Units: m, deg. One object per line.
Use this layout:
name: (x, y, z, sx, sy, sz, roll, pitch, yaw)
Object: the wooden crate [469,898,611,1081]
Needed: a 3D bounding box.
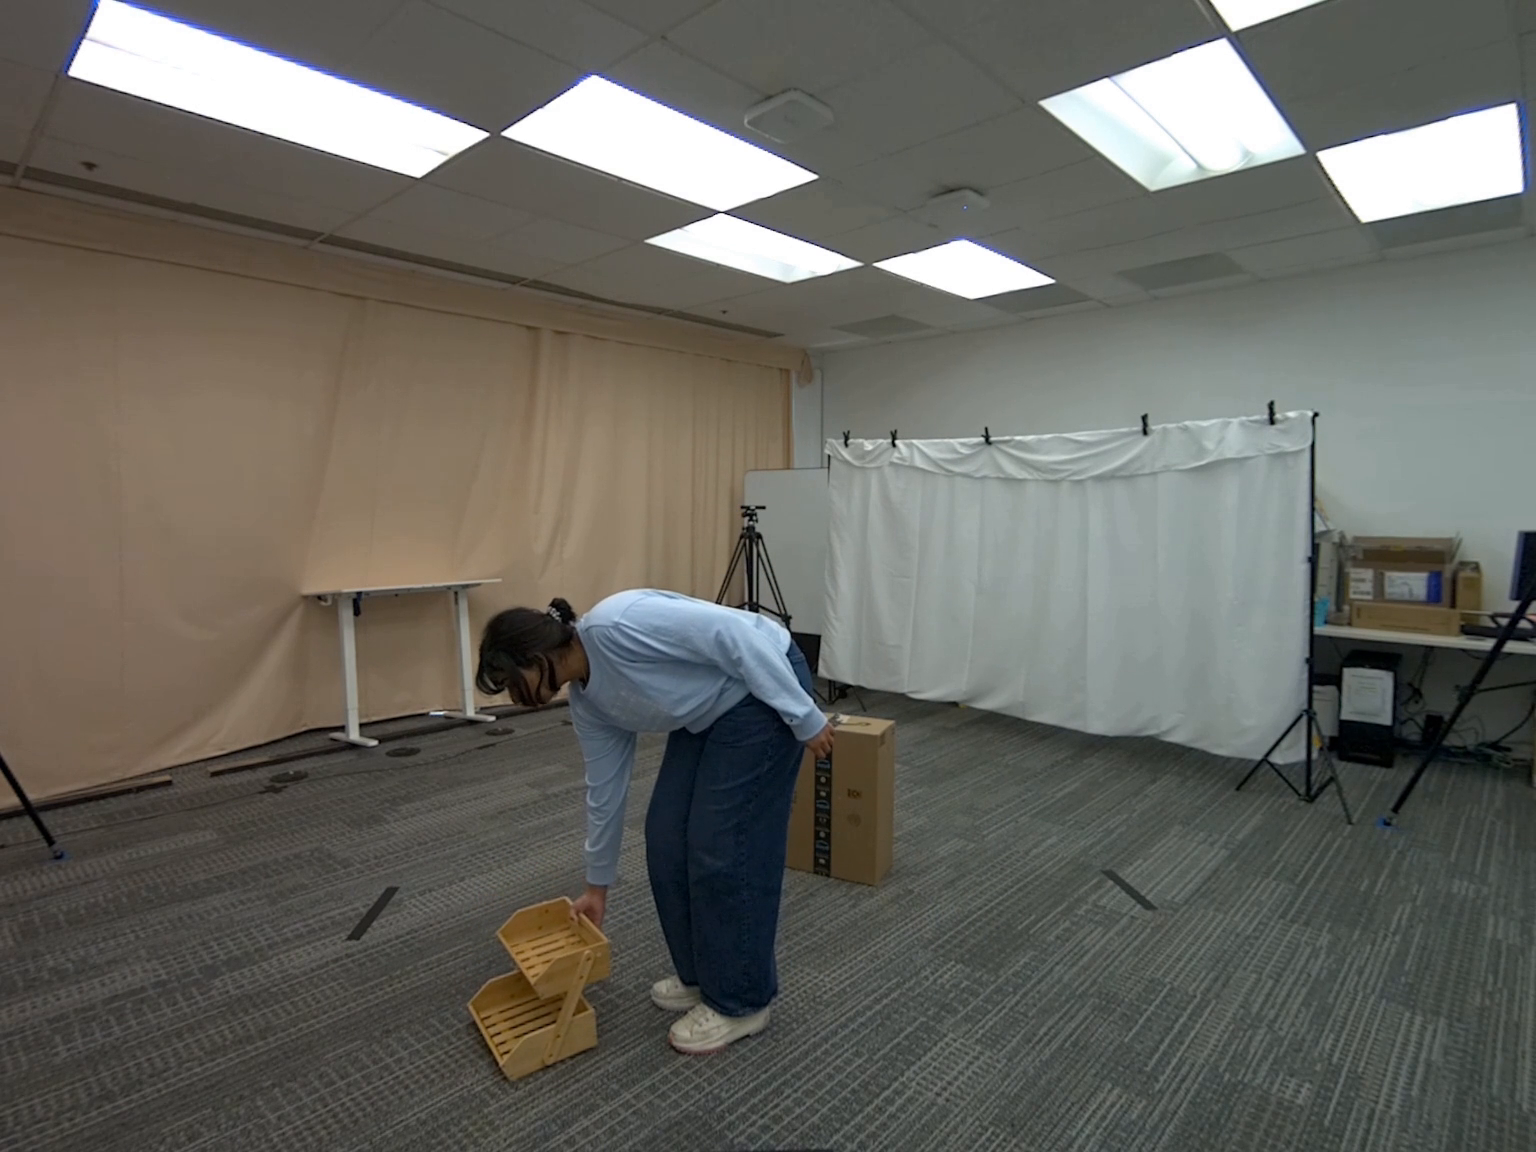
wooden crate: (-0.612, 1.079, 2.219, 0.293, 0.272, 0.335, -5, 6, -35)
